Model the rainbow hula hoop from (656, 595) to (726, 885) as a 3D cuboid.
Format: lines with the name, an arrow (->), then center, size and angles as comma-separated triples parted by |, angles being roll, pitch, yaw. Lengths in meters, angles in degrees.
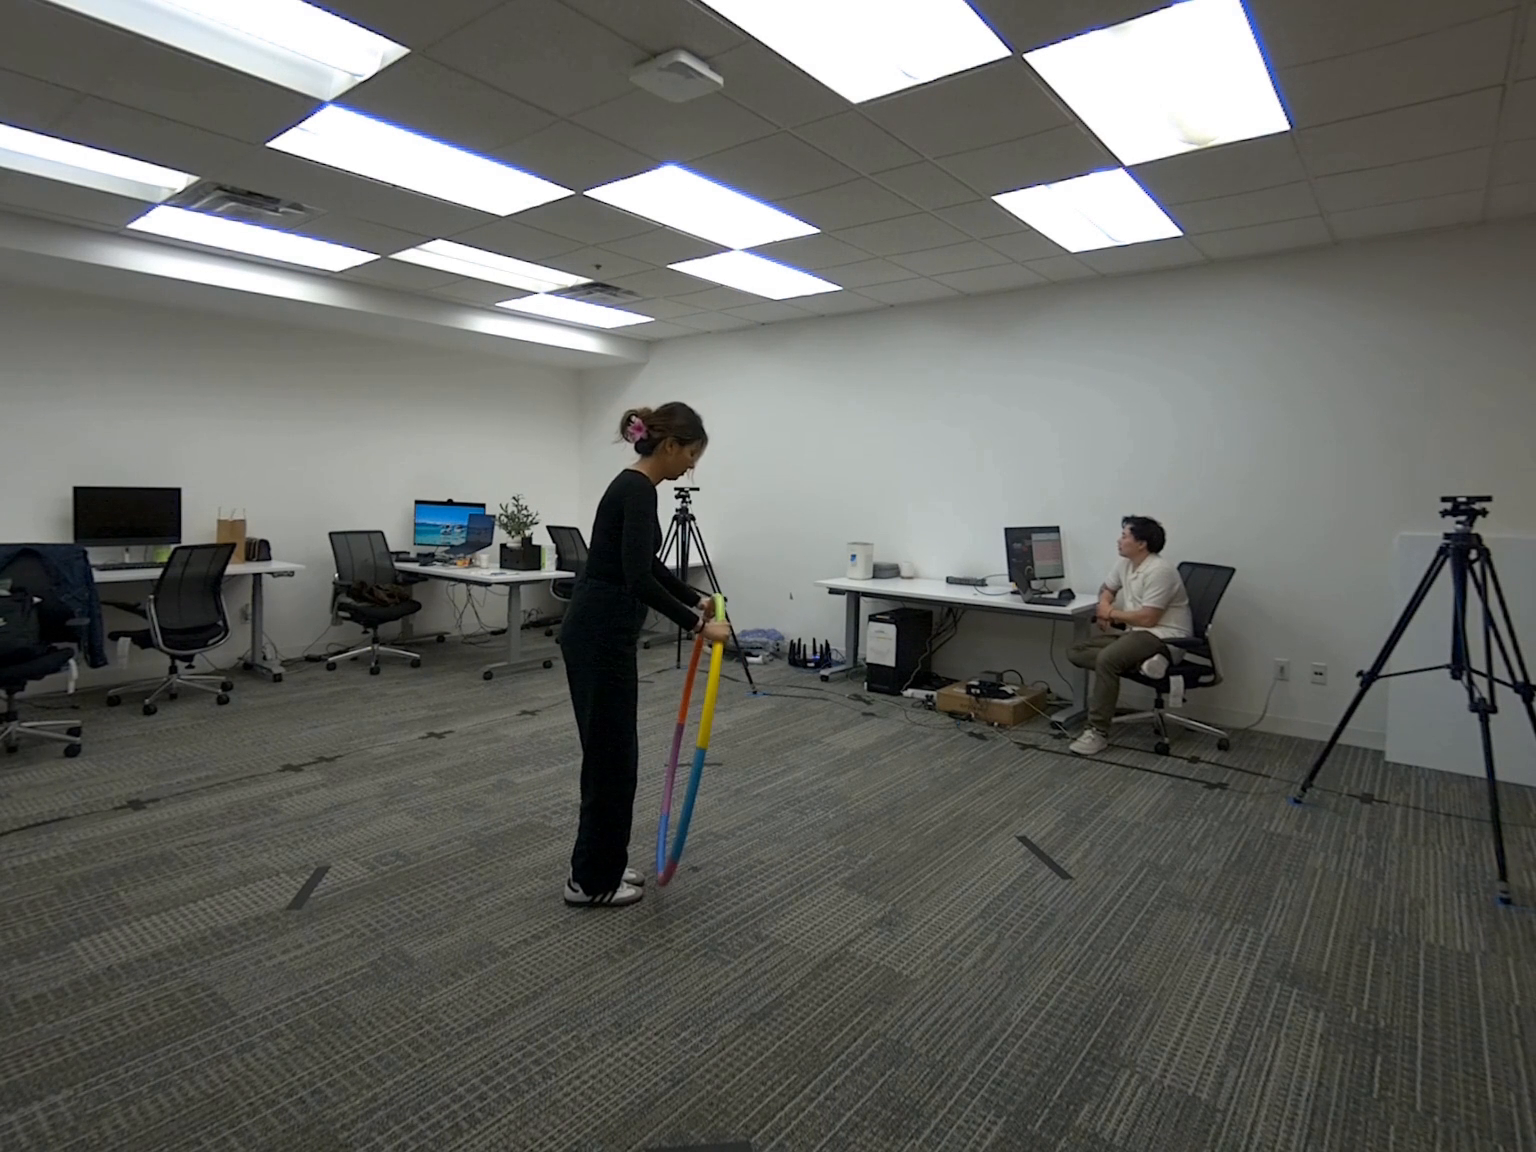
rainbow hula hoop -> -0.263, 0.546, 2.947 | 0.035, 0.977, 0.988 | 12, 3, -8
